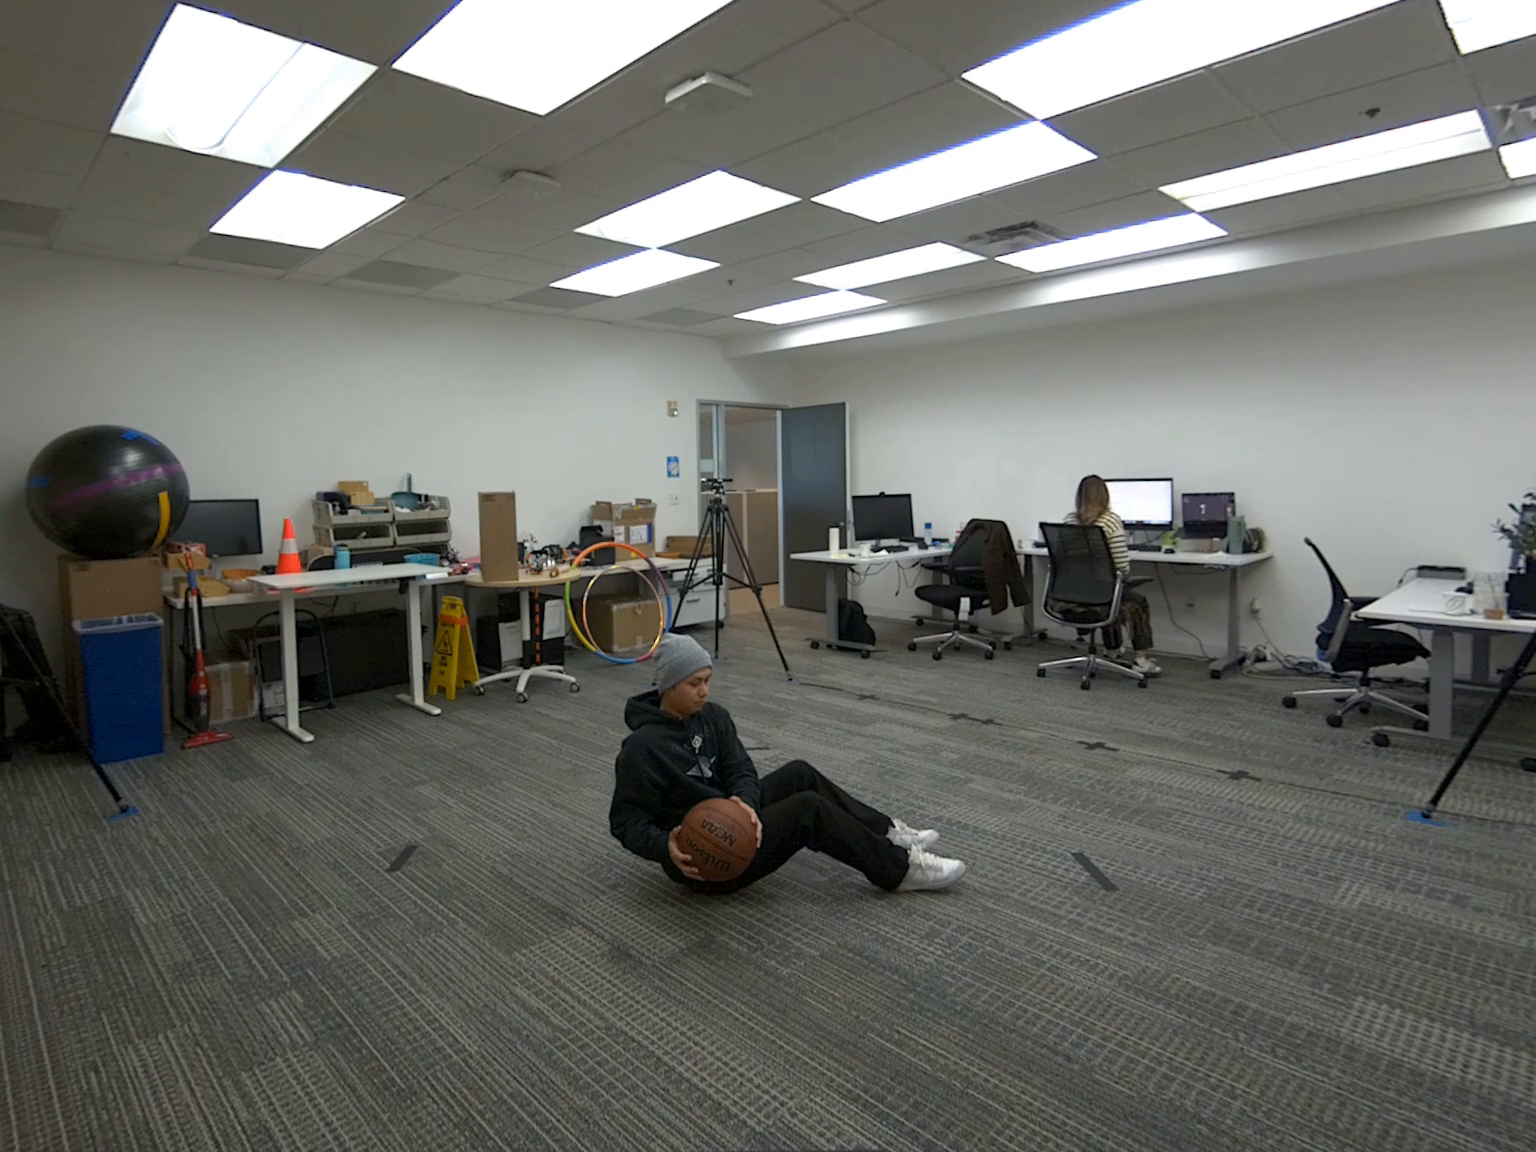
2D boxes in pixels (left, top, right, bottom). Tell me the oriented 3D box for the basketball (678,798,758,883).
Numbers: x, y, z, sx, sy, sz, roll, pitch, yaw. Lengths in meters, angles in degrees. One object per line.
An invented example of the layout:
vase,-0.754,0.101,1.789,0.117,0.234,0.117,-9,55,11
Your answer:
basketball,-0.145,0.798,2.600,0.236,0.235,0.237,-1,5,-2
